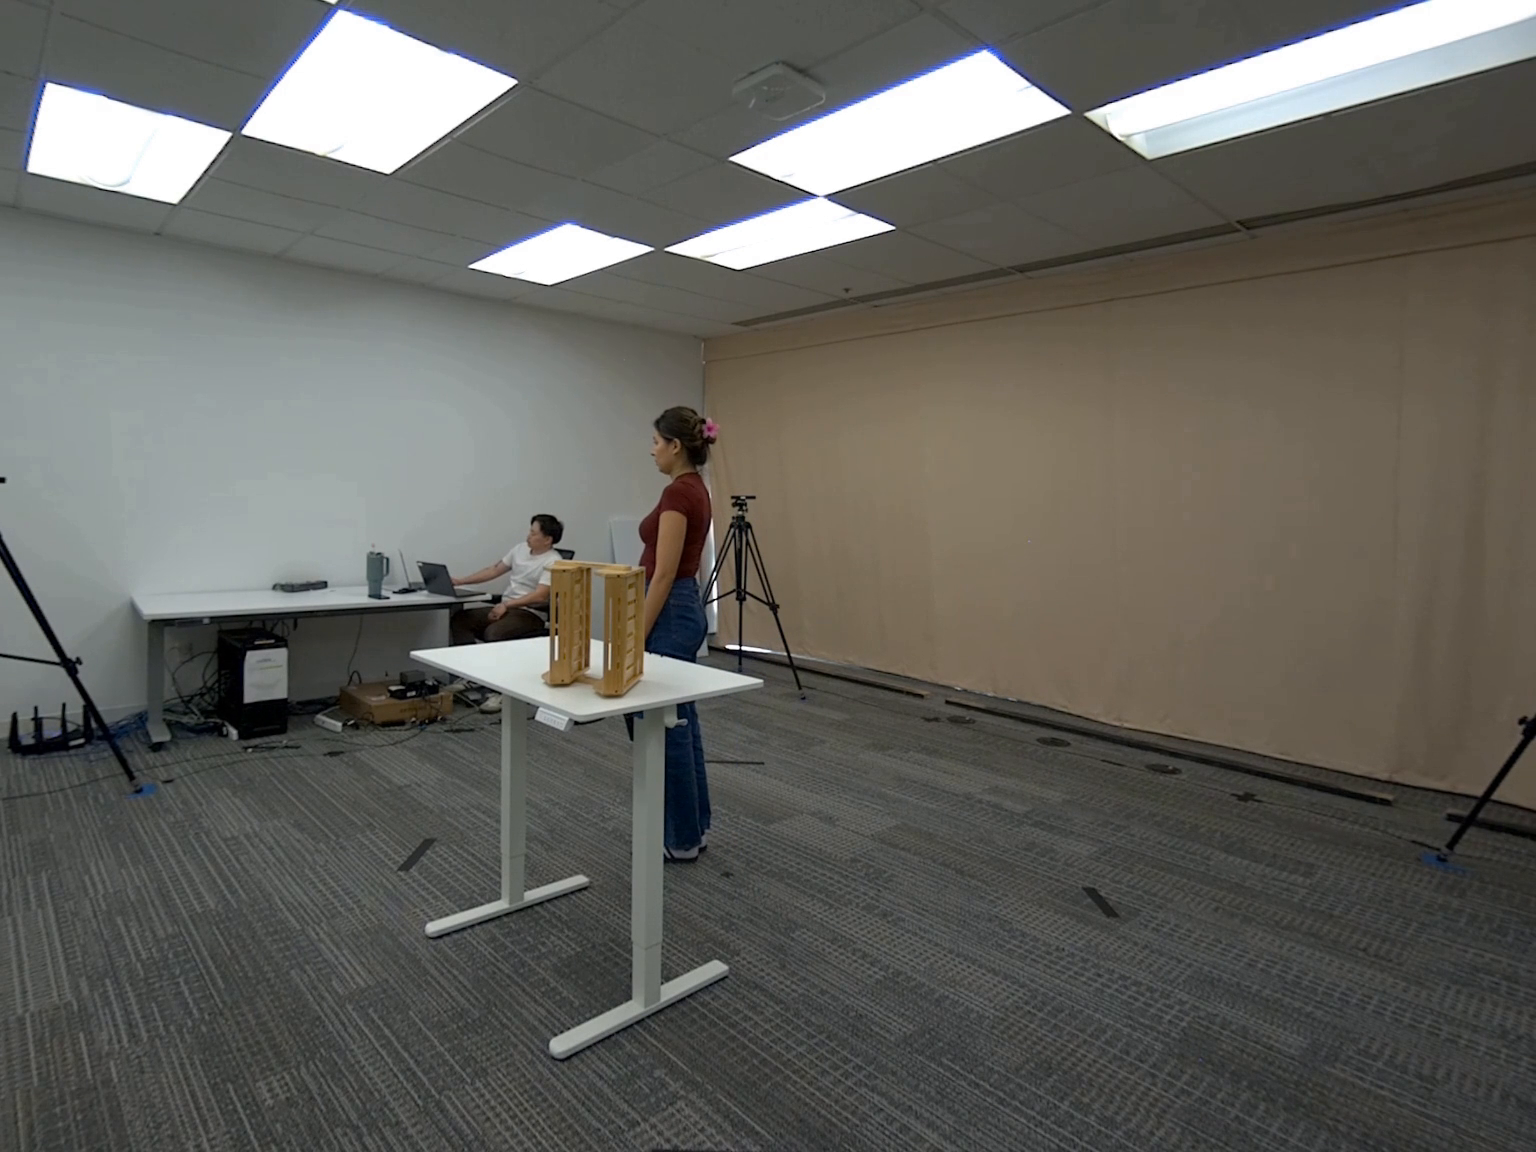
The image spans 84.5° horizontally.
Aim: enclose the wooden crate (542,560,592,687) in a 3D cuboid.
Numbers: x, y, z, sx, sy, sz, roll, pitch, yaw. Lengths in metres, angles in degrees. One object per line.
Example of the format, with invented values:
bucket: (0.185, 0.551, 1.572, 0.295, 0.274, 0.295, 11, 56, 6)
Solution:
wooden crate: (-0.498, 0.134, 2.225, 0.275, 0.324, 0.301, 2, 3, 6)
